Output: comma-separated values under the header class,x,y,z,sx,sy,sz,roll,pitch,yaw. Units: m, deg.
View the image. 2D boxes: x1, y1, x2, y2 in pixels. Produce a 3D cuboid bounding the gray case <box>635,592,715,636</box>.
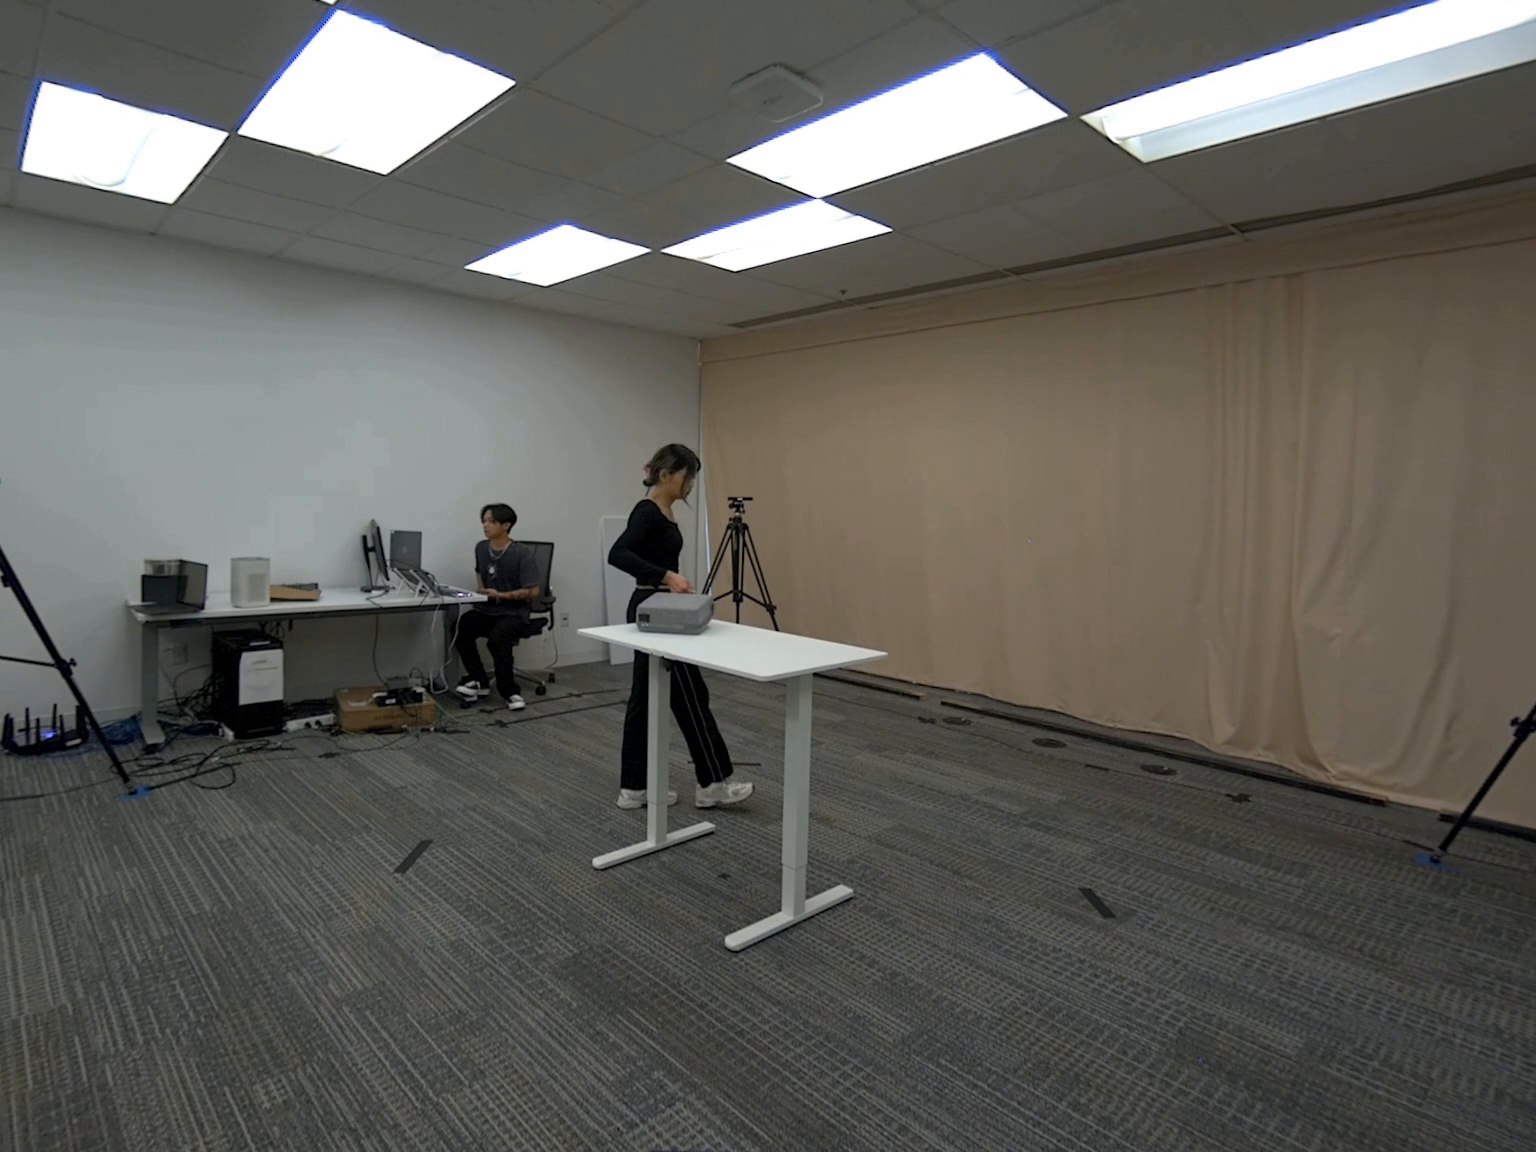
class,x,y,z,sx,sy,sz,roll,pitch,yaw
gray case,-0.365,0.138,3.234,0.260,0.103,0.260,3,12,12
